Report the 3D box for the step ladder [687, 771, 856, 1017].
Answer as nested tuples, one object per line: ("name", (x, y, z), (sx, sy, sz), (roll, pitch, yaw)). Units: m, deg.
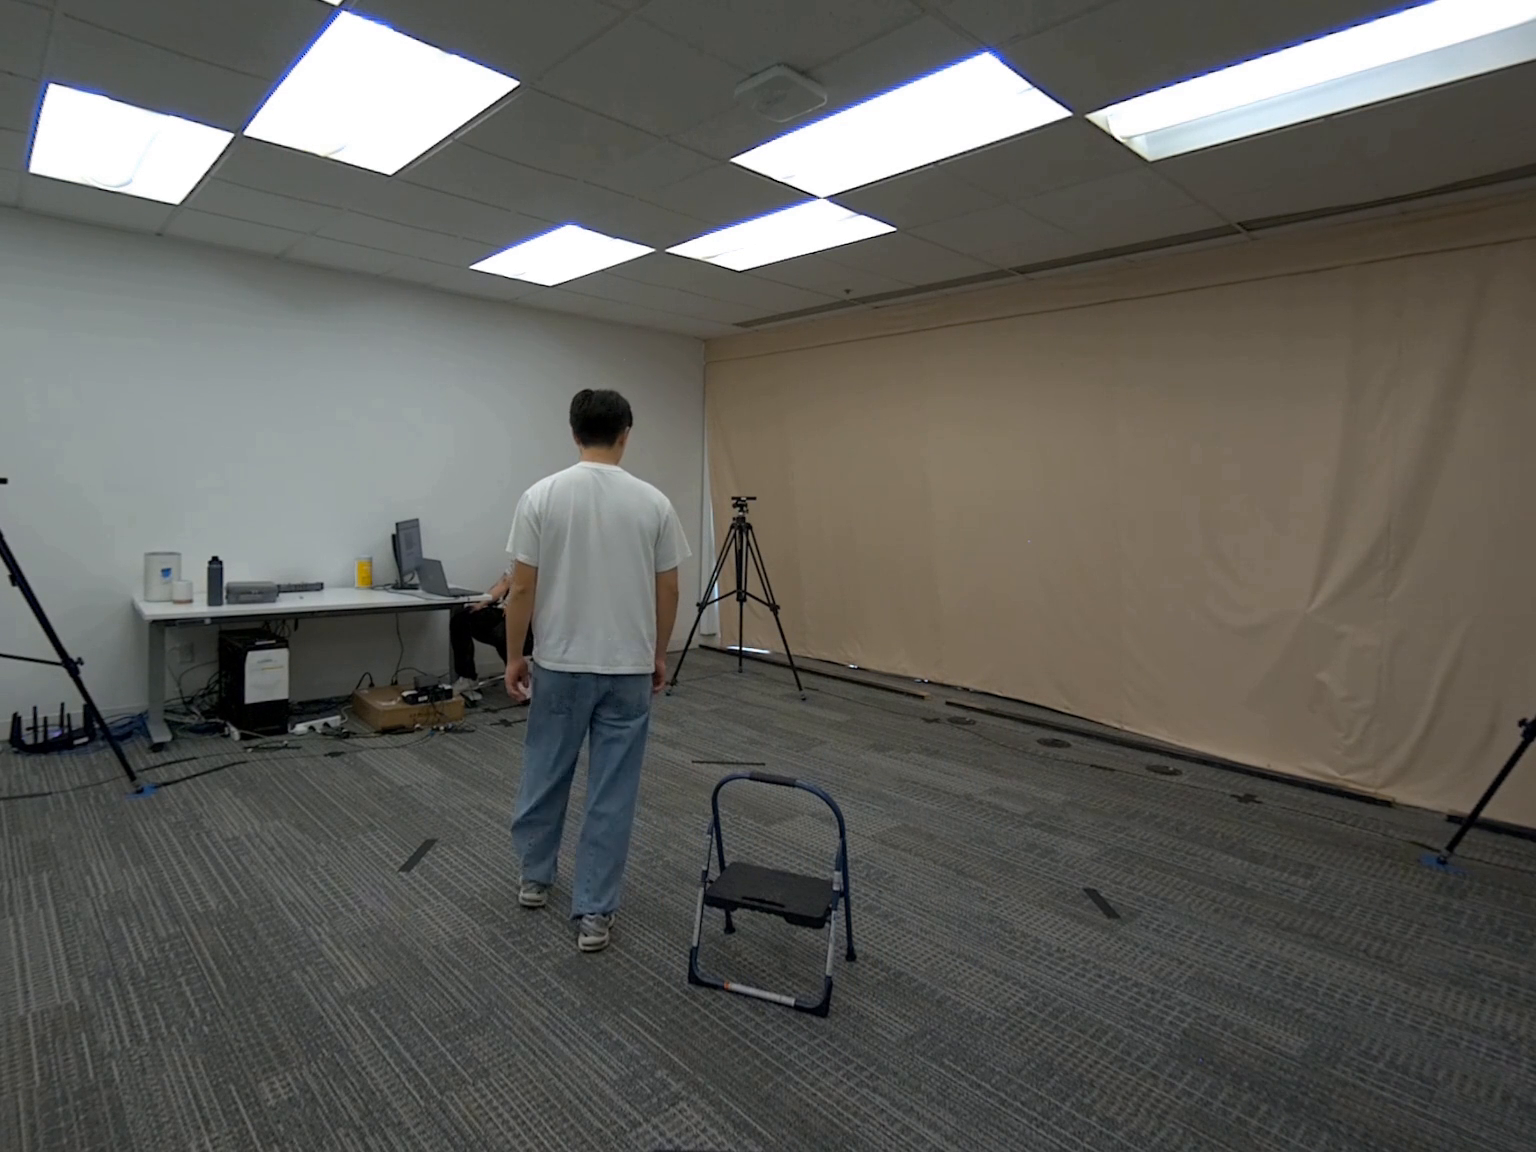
("step ladder", (0.023, 0.866, 2.473), (0.437, 0.605, 0.344), (3, 4, 19))
